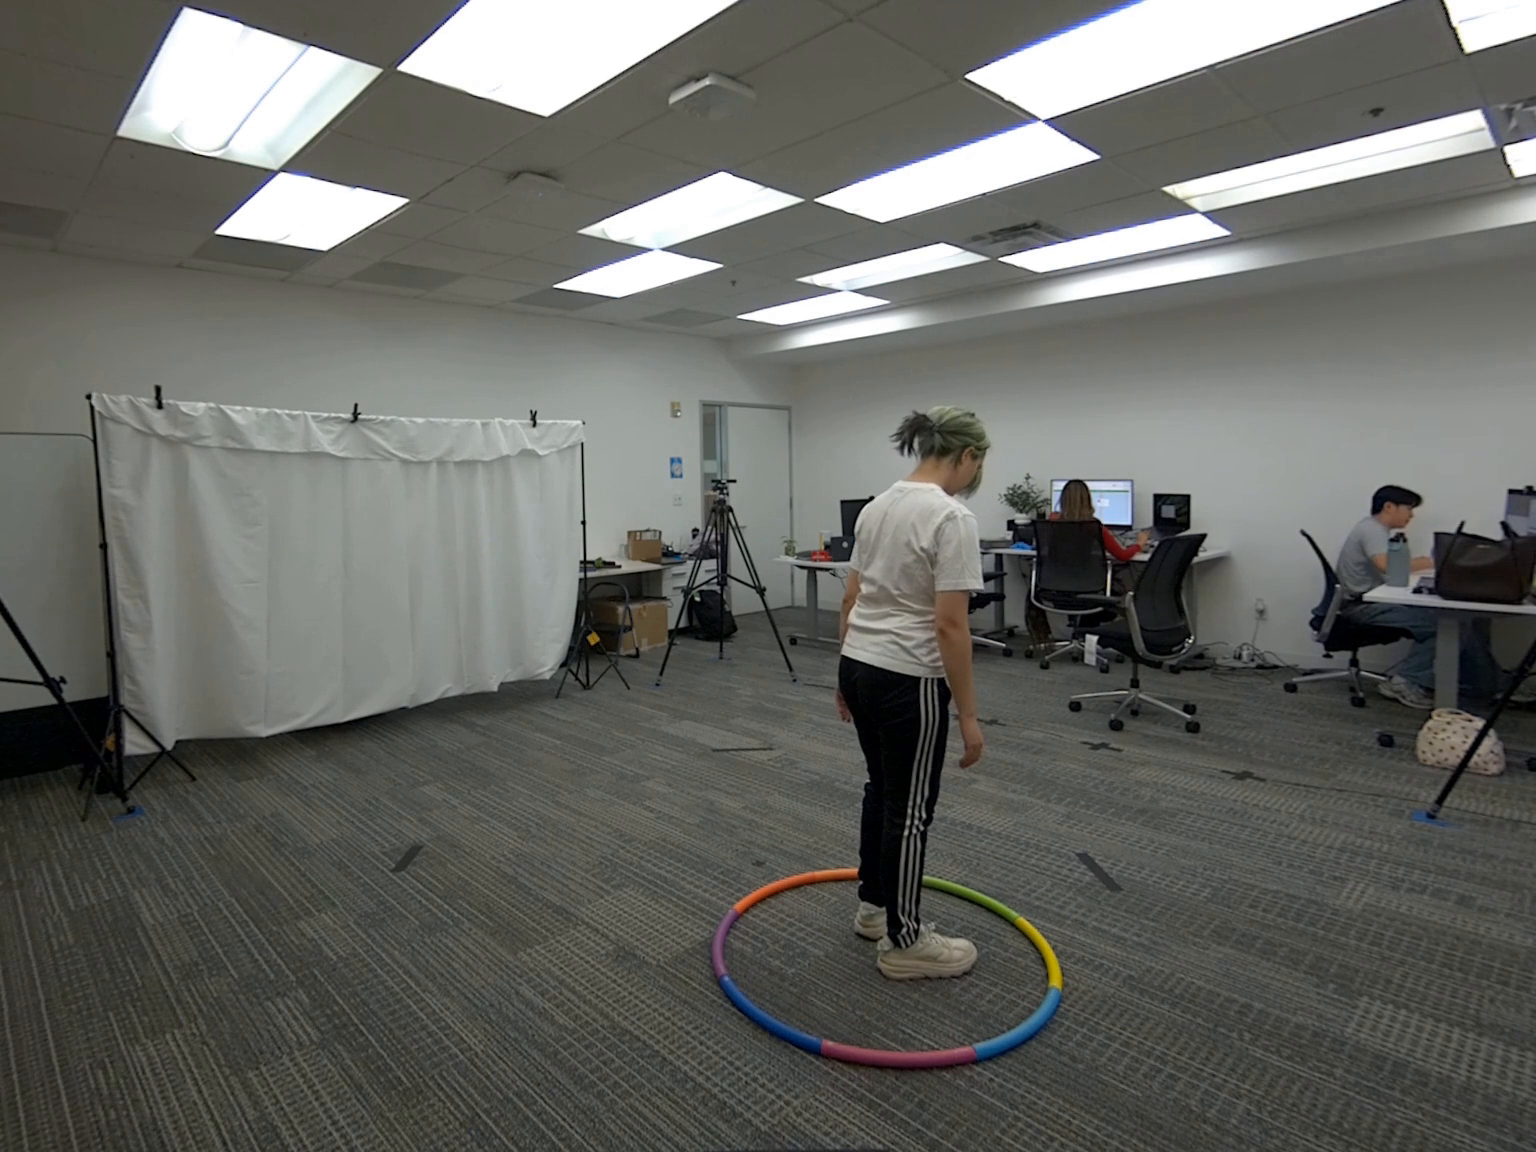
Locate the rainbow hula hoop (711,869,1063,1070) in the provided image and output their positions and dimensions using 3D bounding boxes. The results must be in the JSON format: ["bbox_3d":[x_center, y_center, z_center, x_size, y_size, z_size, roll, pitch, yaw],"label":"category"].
[{"bbox_3d":[0.330,1.085,2.501,0.985,0.051,0.991,-2,6,-2],"label":"rainbow hula hoop"}]
